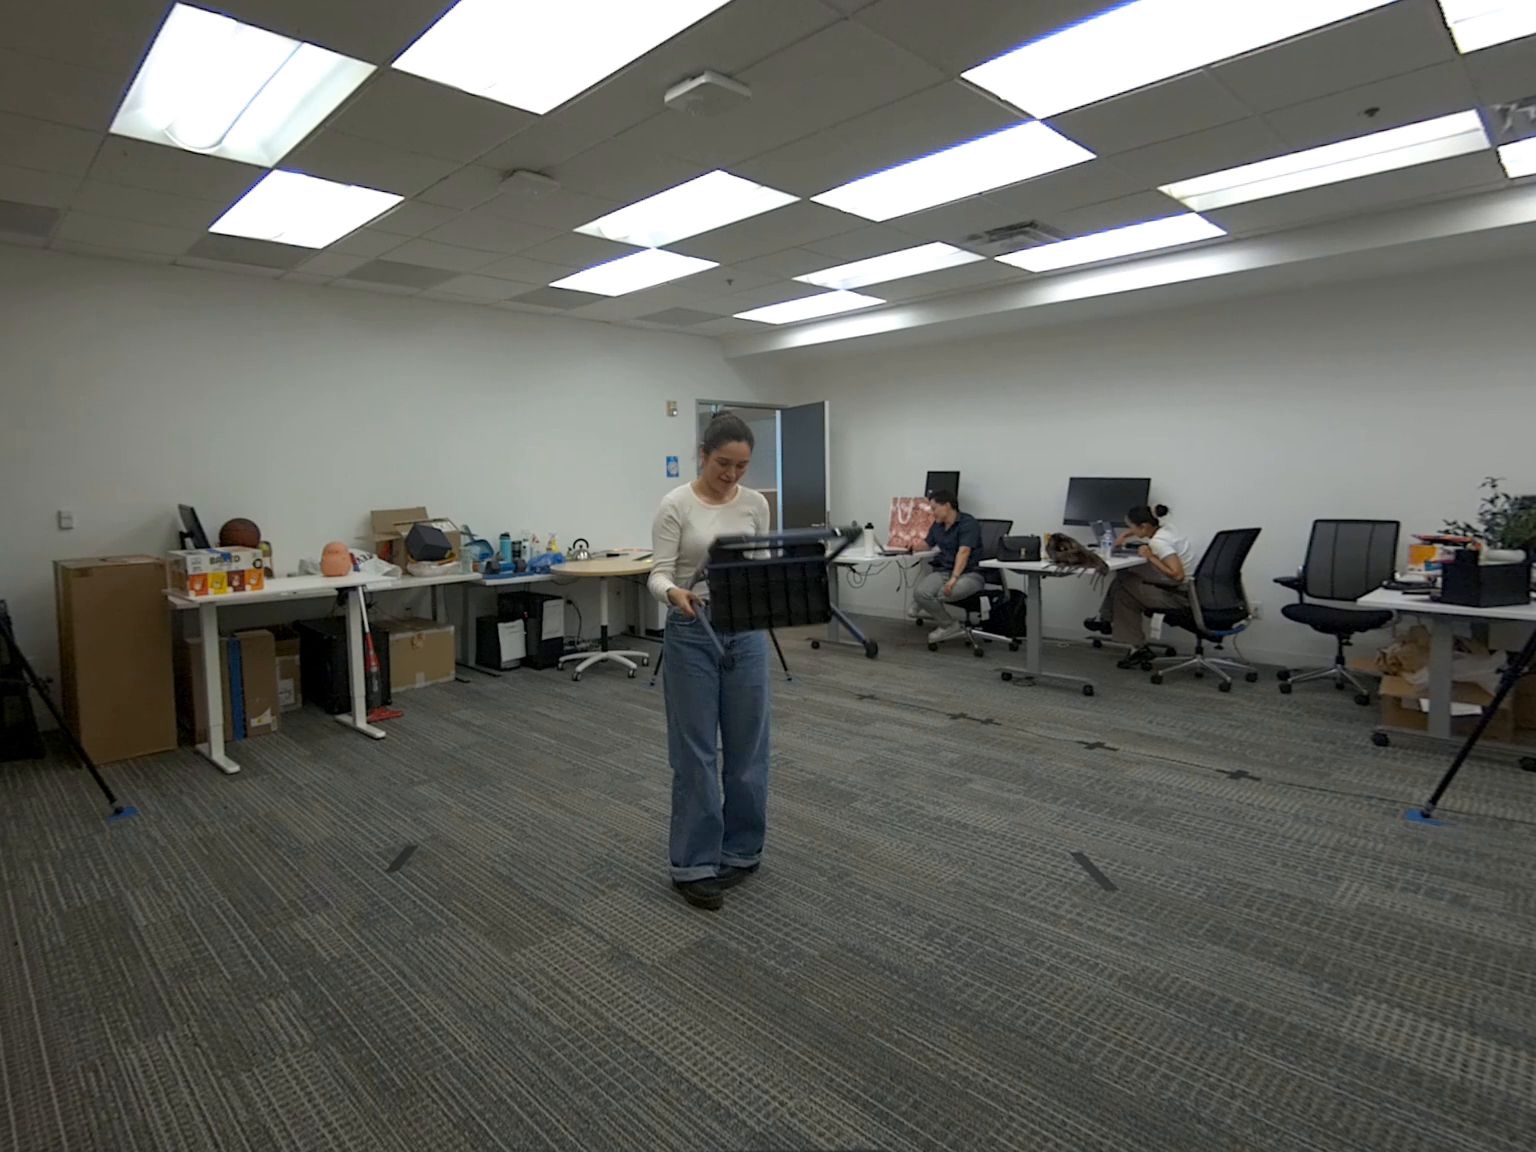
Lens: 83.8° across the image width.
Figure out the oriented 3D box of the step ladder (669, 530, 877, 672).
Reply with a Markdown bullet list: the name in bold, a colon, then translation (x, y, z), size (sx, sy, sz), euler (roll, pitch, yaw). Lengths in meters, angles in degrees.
- **step ladder**: translation (-0.023, 0.067, 2.539), size (0.424, 0.350, 0.614), euler (-4, 0, -17)
